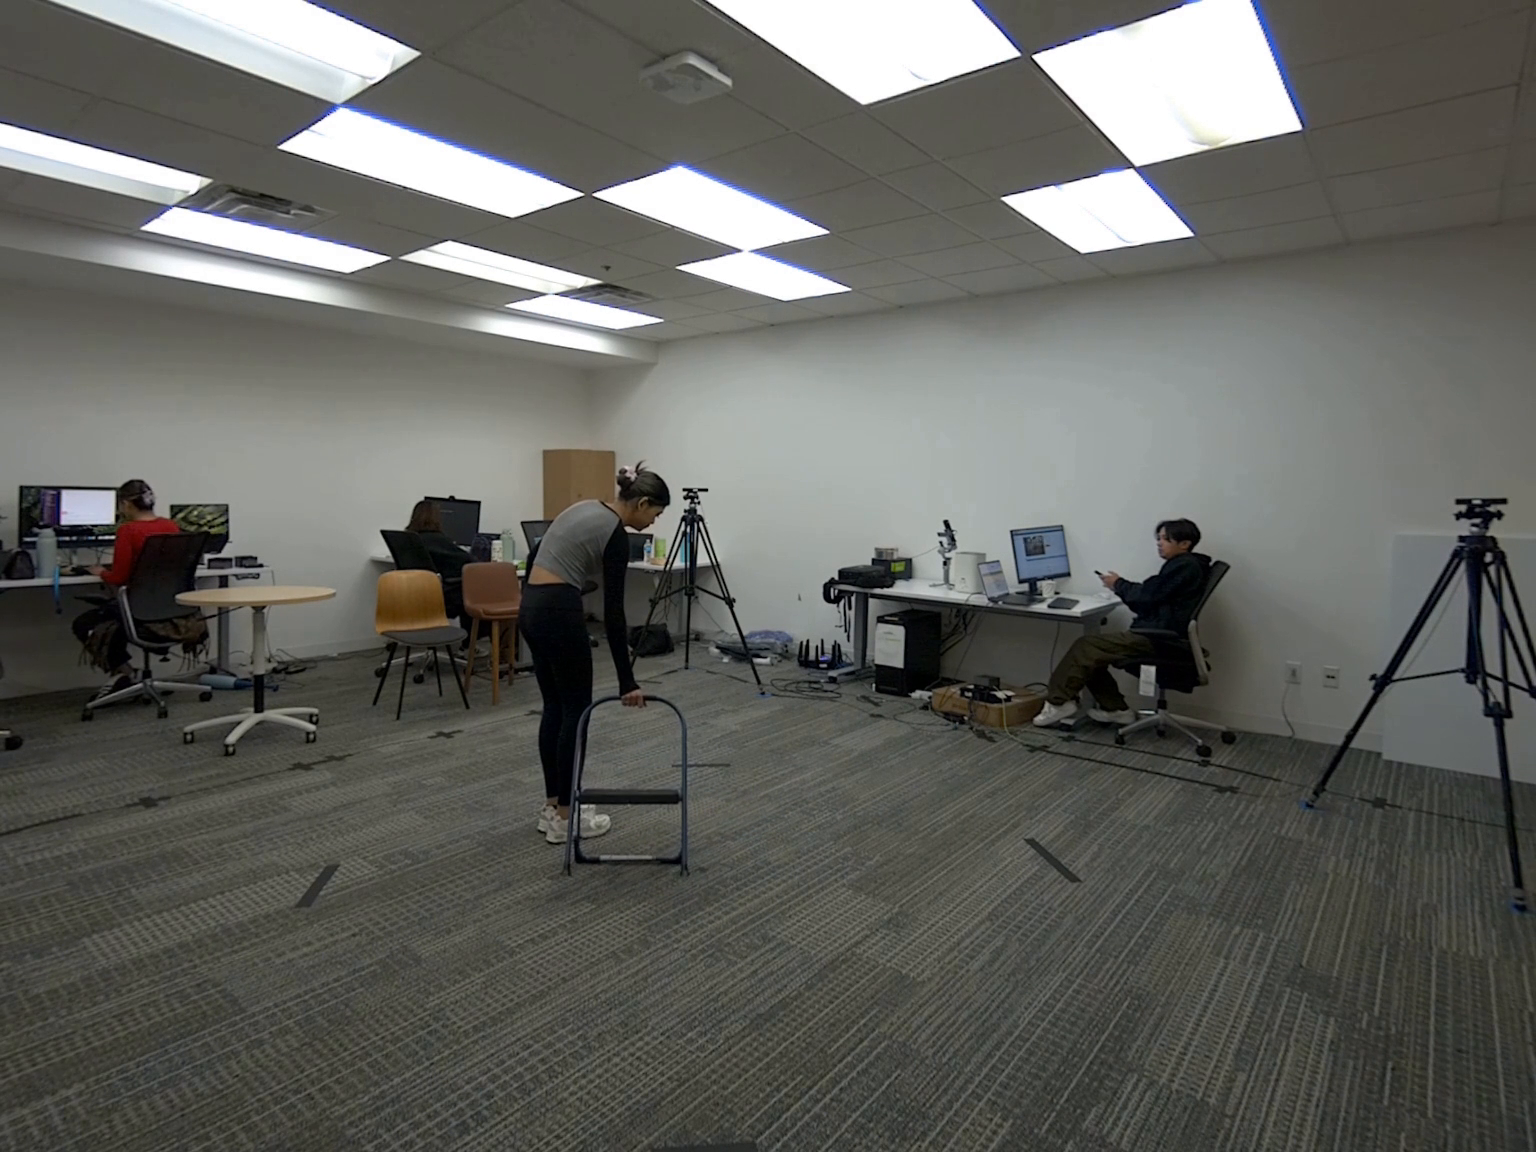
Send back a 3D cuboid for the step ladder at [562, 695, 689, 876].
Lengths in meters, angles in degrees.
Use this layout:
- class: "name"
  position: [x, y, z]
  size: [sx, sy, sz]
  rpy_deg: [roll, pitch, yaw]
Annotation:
- class: "step ladder"
  position: [-0.502, 0.739, 3.068]
  size: [0.429, 0.613, 0.346]
  rpy_deg: [1, -12, -4]
